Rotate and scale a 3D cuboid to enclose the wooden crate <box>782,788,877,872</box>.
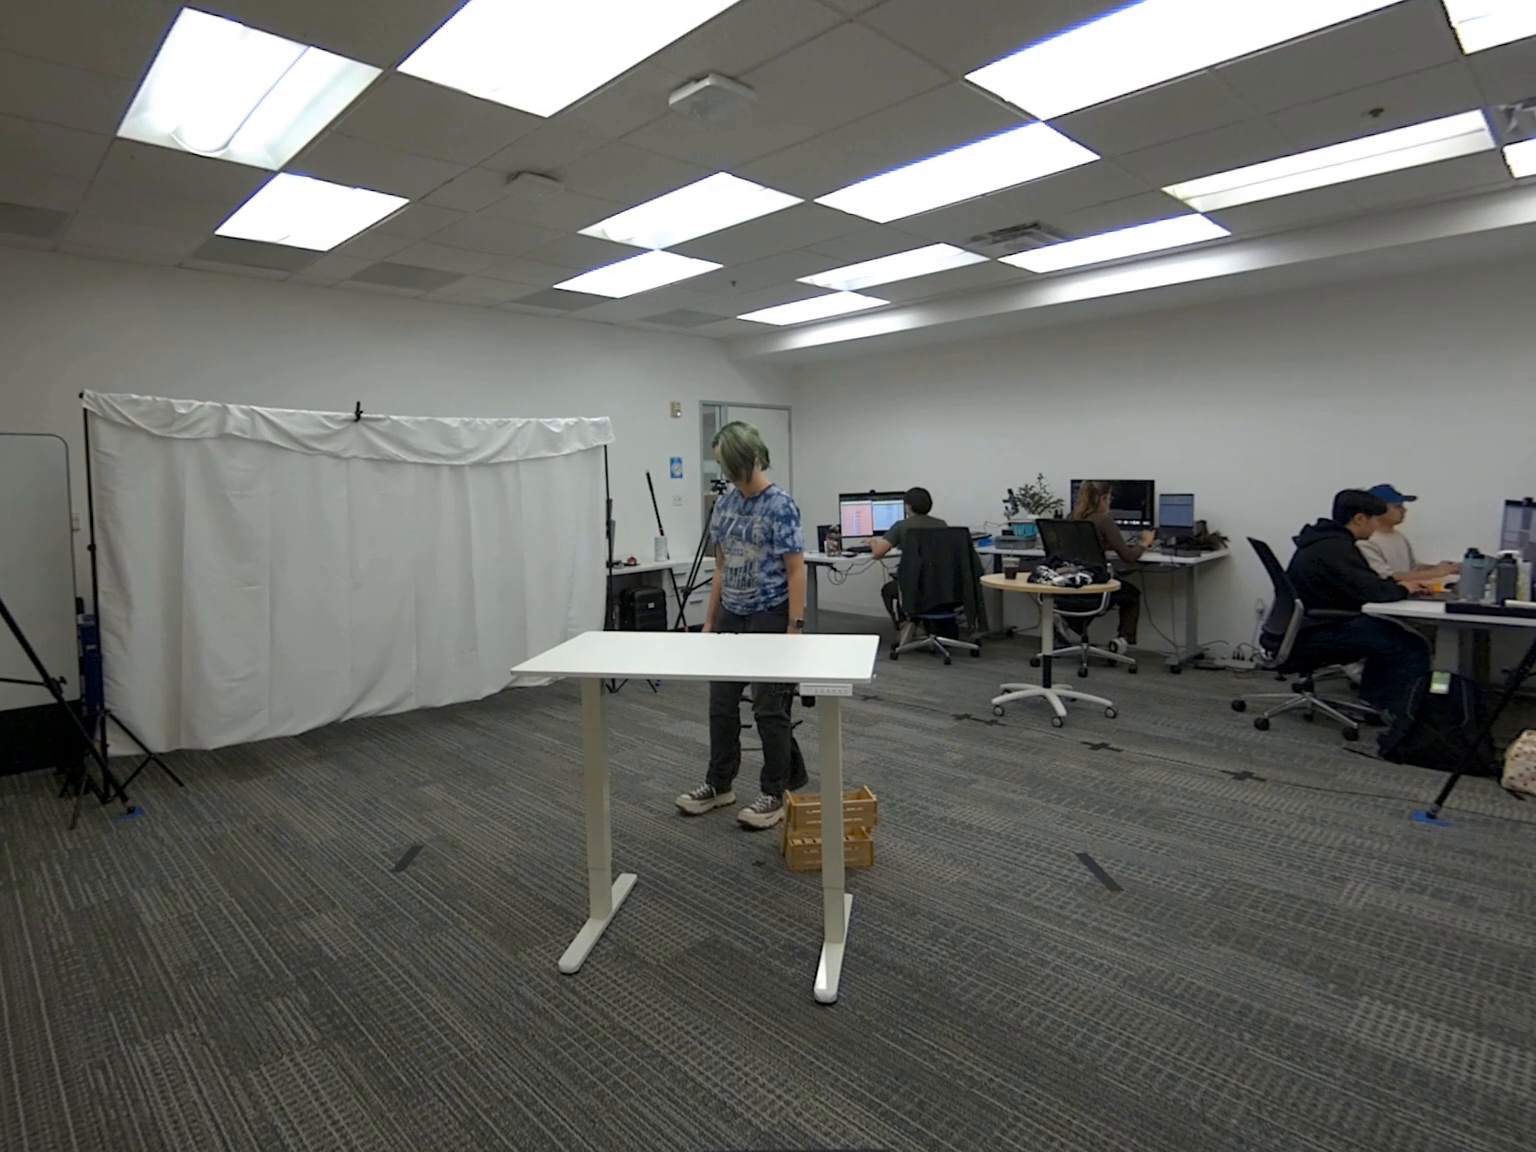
[{"bbox_3d":[0.215,0.901,3.153,0.322,0.272,0.305,-1,5,-8],"label":"wooden crate"}]
